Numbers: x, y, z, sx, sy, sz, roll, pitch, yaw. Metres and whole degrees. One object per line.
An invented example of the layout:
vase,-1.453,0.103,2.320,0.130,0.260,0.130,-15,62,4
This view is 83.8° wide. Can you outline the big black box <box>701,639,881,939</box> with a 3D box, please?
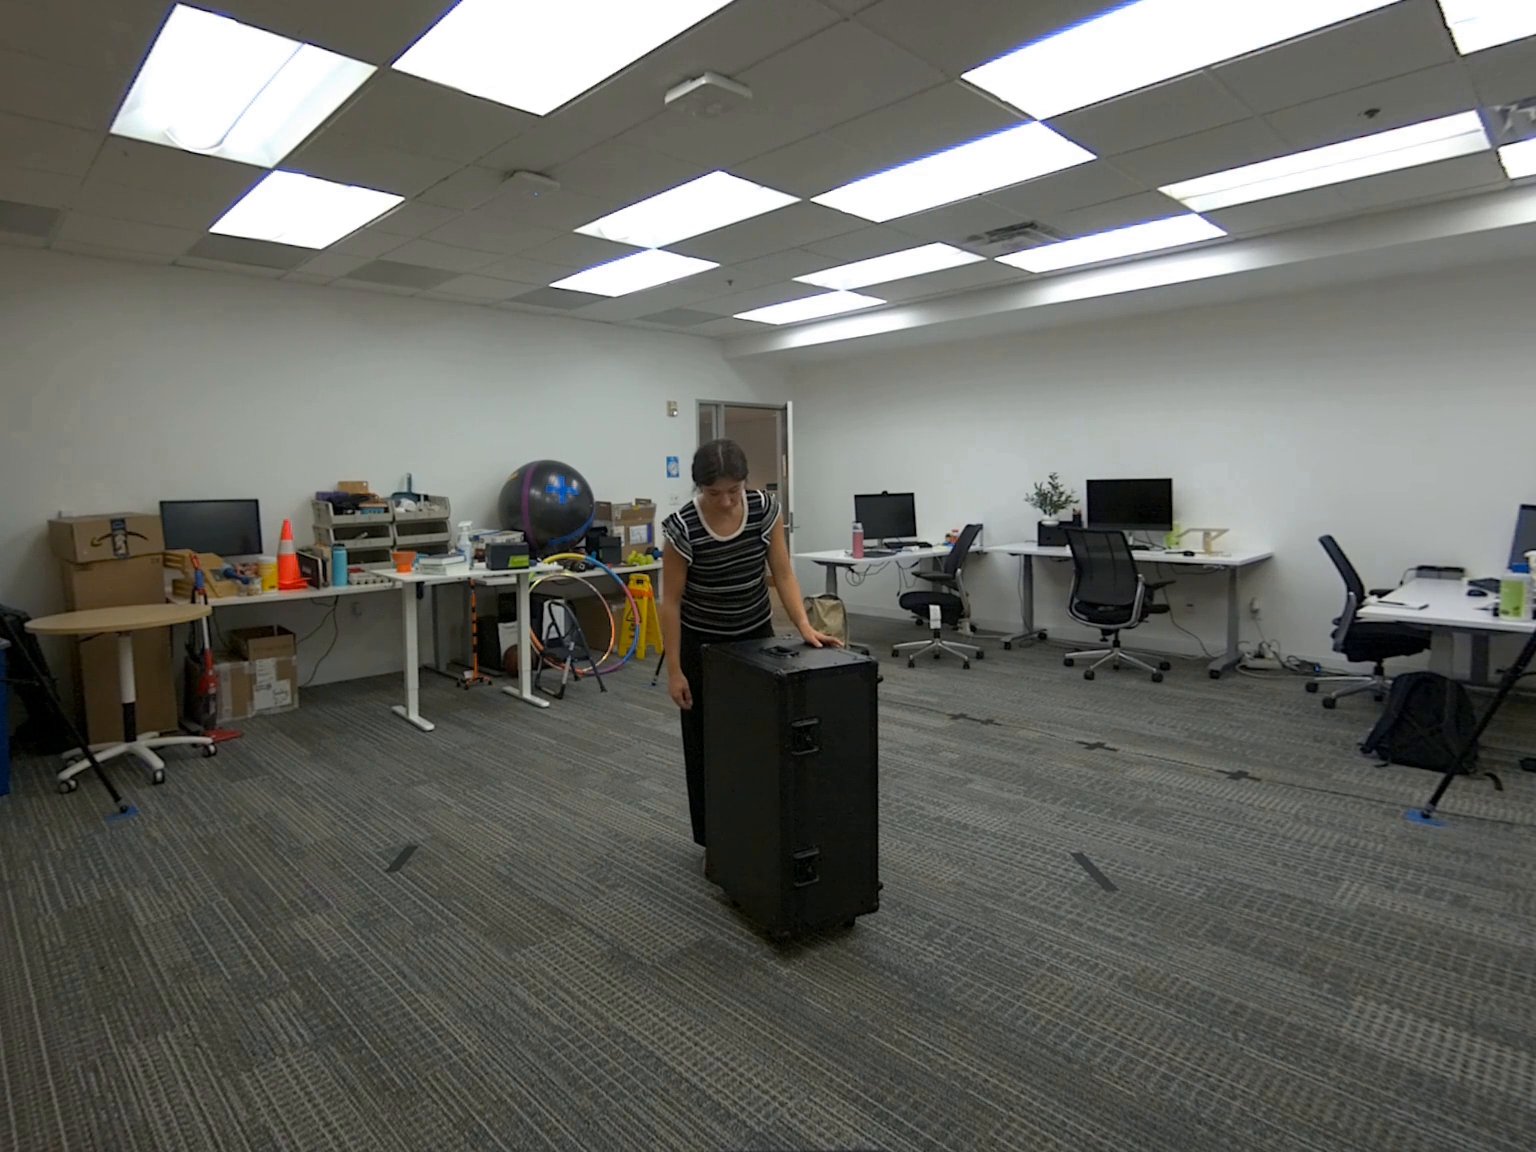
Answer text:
big black box,0.069,0.663,2.719,0.387,0.859,0.535,-3,4,-30
